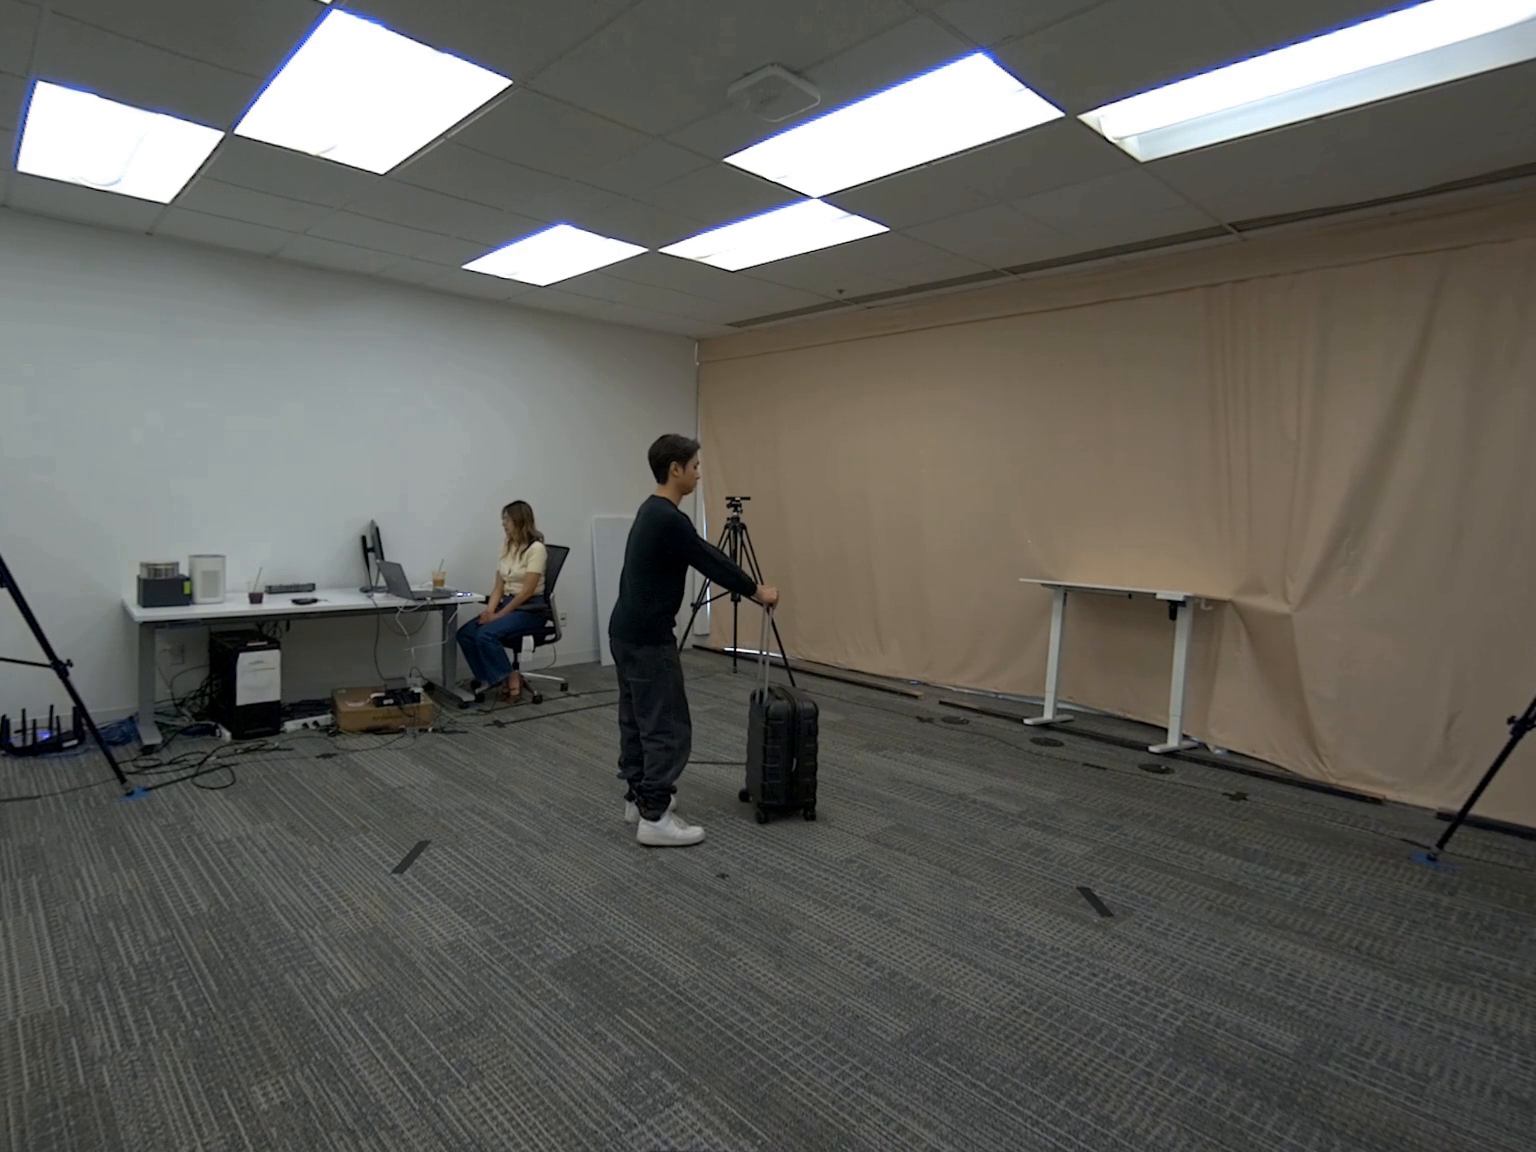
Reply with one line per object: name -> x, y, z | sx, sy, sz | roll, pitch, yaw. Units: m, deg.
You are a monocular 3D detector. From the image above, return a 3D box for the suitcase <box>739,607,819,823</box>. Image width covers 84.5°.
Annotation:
suitcase -> 0.063, 0.577, 3.752 | 0.254, 0.976, 0.389 | 4, 4, -12
